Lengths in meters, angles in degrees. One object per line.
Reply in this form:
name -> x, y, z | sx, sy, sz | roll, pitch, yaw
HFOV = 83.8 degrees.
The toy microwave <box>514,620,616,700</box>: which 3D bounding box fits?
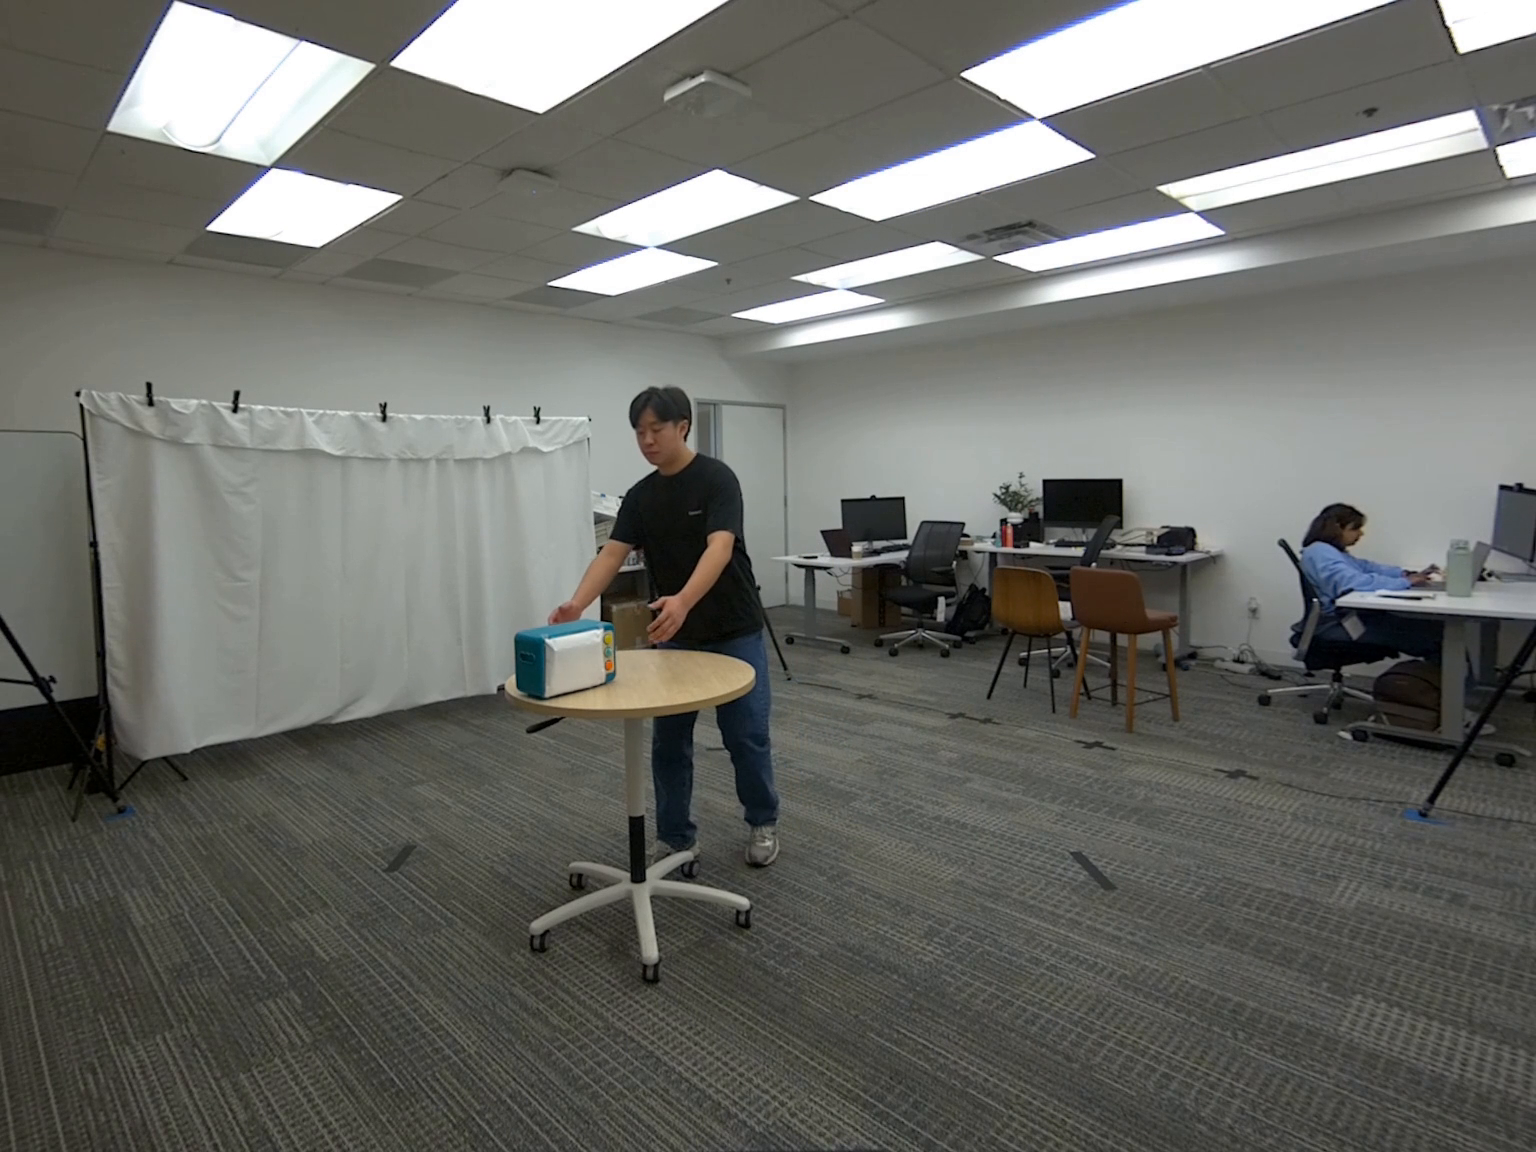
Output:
toy microwave -> -0.578, 0.239, 2.485 | 0.157, 0.183, 0.279 | 3, 7, 39
